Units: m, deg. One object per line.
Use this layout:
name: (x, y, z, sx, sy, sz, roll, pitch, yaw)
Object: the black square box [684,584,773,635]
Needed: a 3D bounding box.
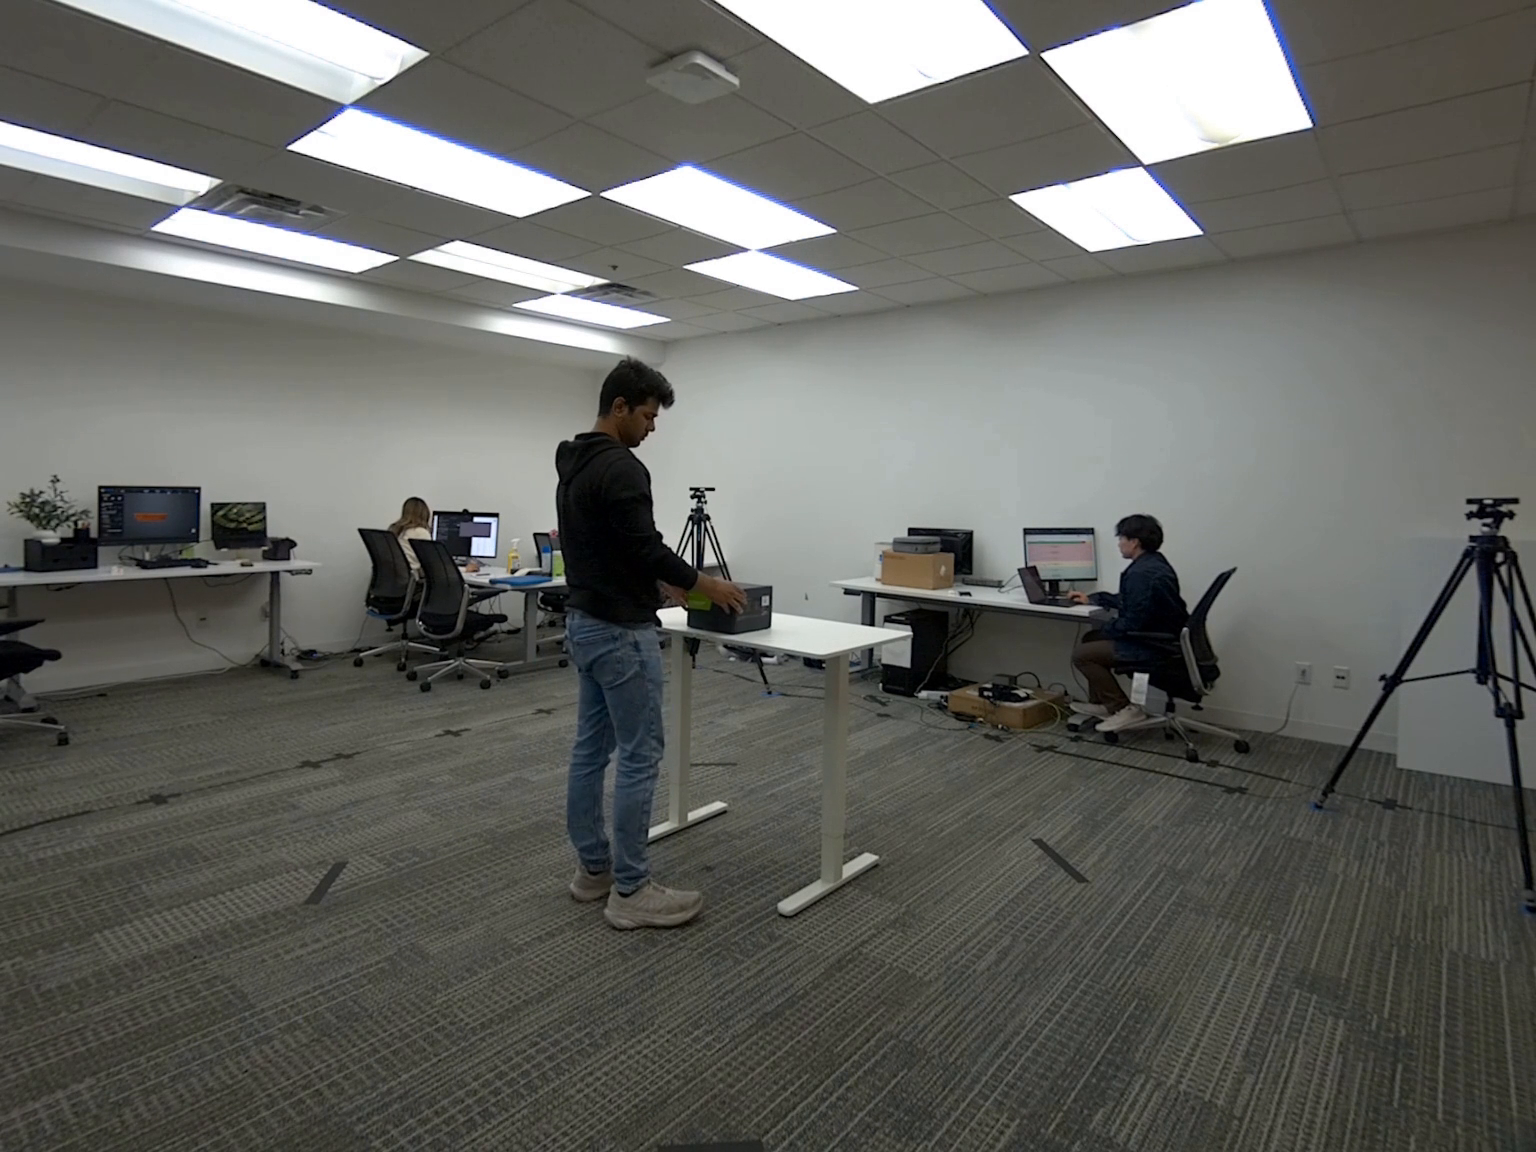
black square box: (-0.147, 0.105, 3.084, 0.235, 0.155, 0.210, 4, 5, 39)
